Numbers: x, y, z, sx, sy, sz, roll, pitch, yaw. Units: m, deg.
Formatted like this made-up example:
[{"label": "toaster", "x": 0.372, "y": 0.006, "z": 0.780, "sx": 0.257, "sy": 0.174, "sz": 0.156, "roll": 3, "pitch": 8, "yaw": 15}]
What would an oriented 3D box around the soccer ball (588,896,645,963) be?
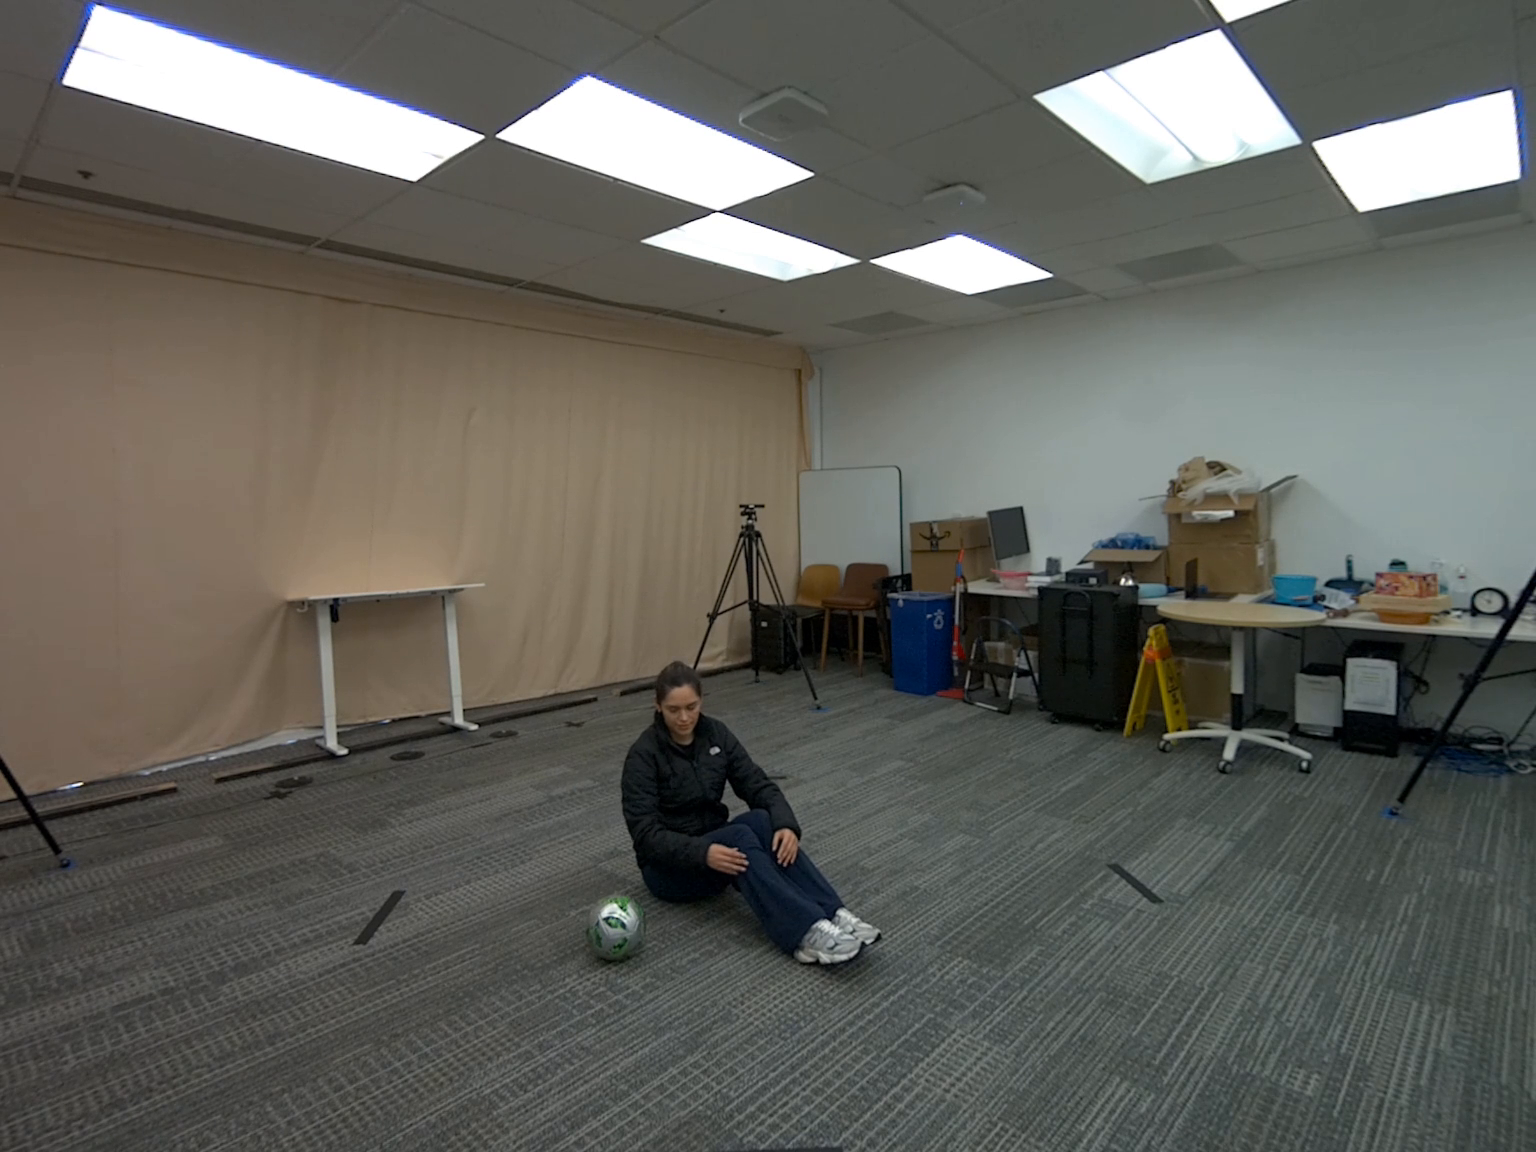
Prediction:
[{"label": "soccer ball", "x": -0.467, "y": 1.085, "z": 2.614, "sx": 0.187, "sy": 0.187, "sz": 0.188, "roll": 2, "pitch": 5, "yaw": -2}]
